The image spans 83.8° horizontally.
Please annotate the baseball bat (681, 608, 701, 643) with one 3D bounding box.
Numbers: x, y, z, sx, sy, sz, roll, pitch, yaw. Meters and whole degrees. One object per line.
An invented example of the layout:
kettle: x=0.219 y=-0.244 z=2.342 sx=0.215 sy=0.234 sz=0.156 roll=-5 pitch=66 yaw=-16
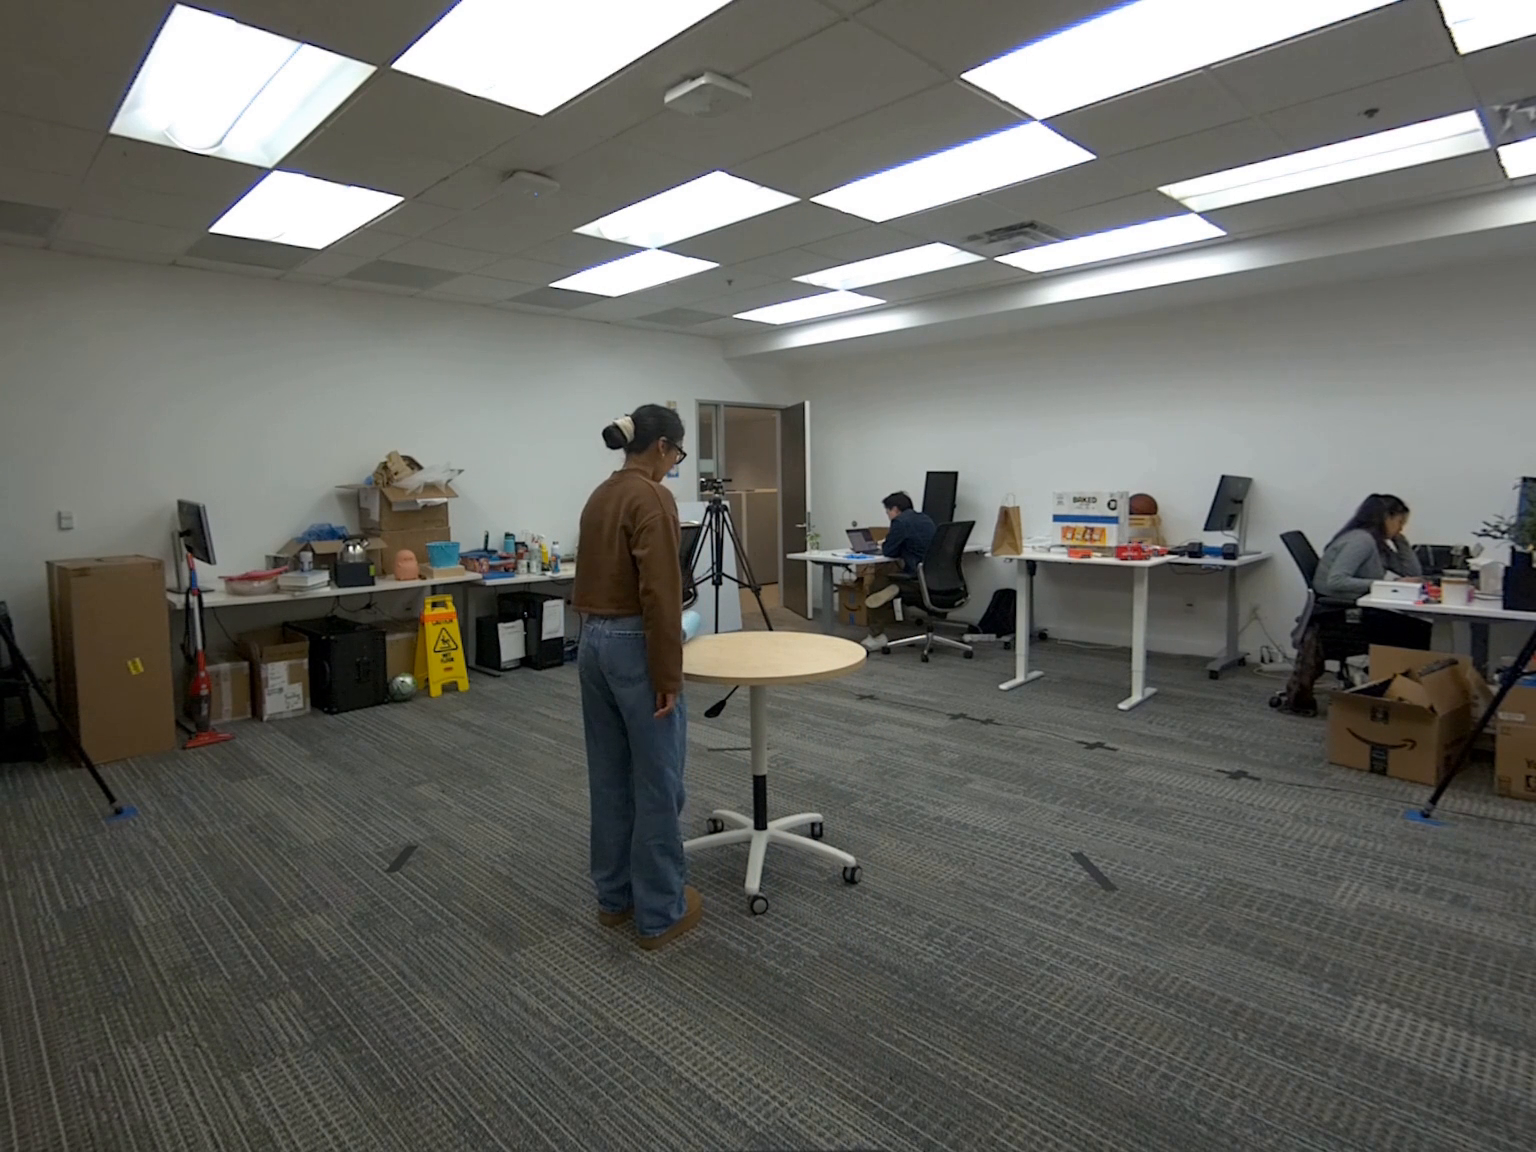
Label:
baseball bat: x=-0.340 y=0.240 z=3.152 sx=0.090 sy=0.088 sz=0.542 roll=0 pitch=13 yaw=11
